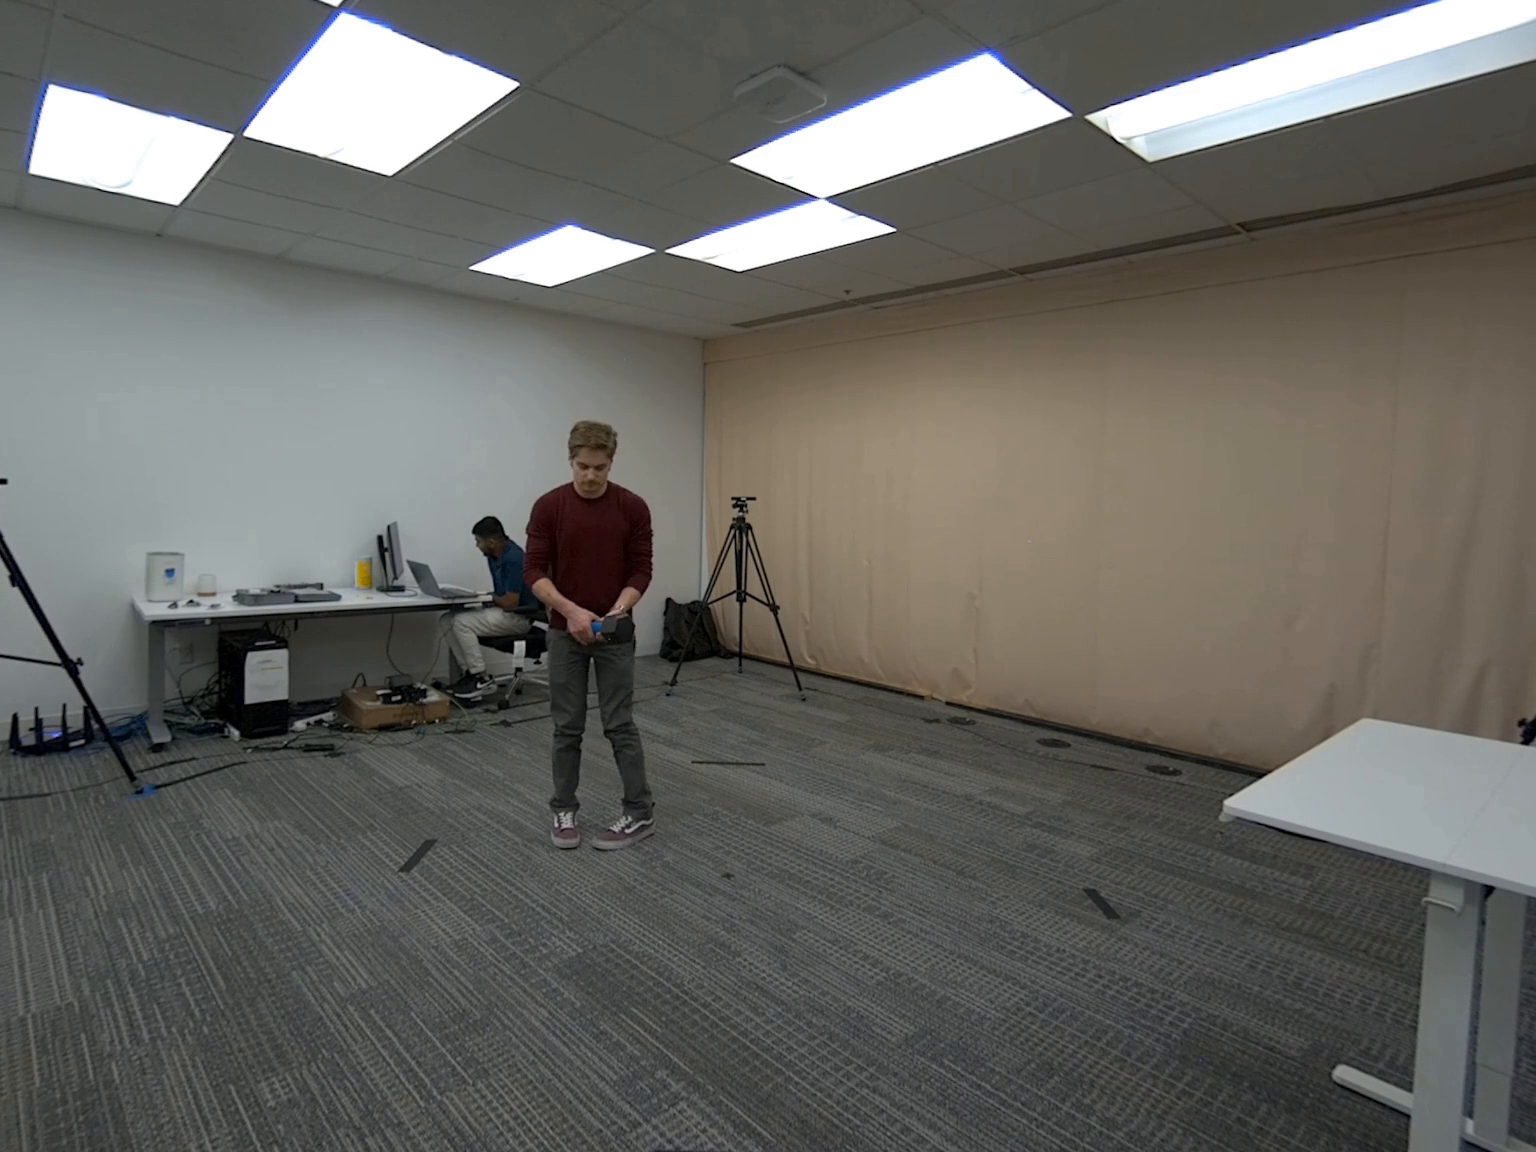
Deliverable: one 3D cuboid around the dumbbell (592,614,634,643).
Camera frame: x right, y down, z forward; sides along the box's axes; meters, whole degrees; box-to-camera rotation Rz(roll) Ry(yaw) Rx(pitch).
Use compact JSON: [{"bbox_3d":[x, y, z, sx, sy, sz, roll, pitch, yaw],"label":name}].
[{"bbox_3d":[-0.649,0.202,3.180,0.300,0.120,0.109,-5,36,44],"label":"dumbbell"}]
